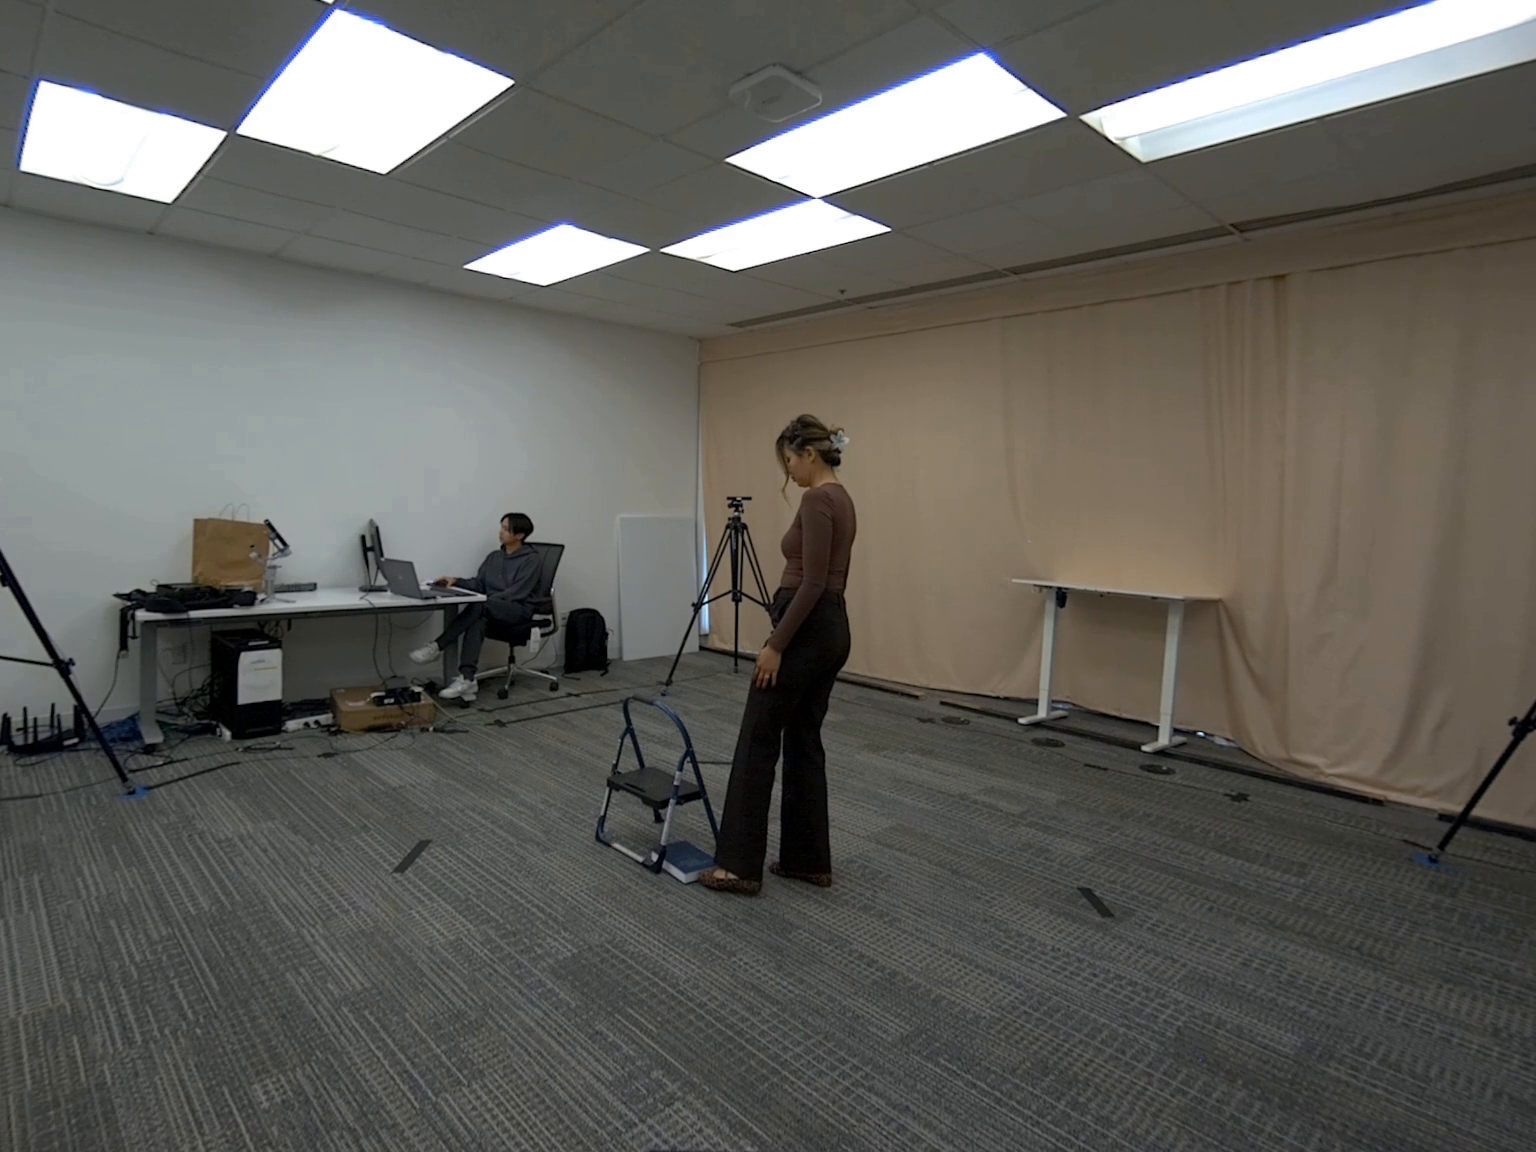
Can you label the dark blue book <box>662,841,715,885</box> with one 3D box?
[{"bbox_3d":[-0.315,1.067,3.163,0.160,0.045,0.251,-4,7,-37],"label":"dark blue book"}]
